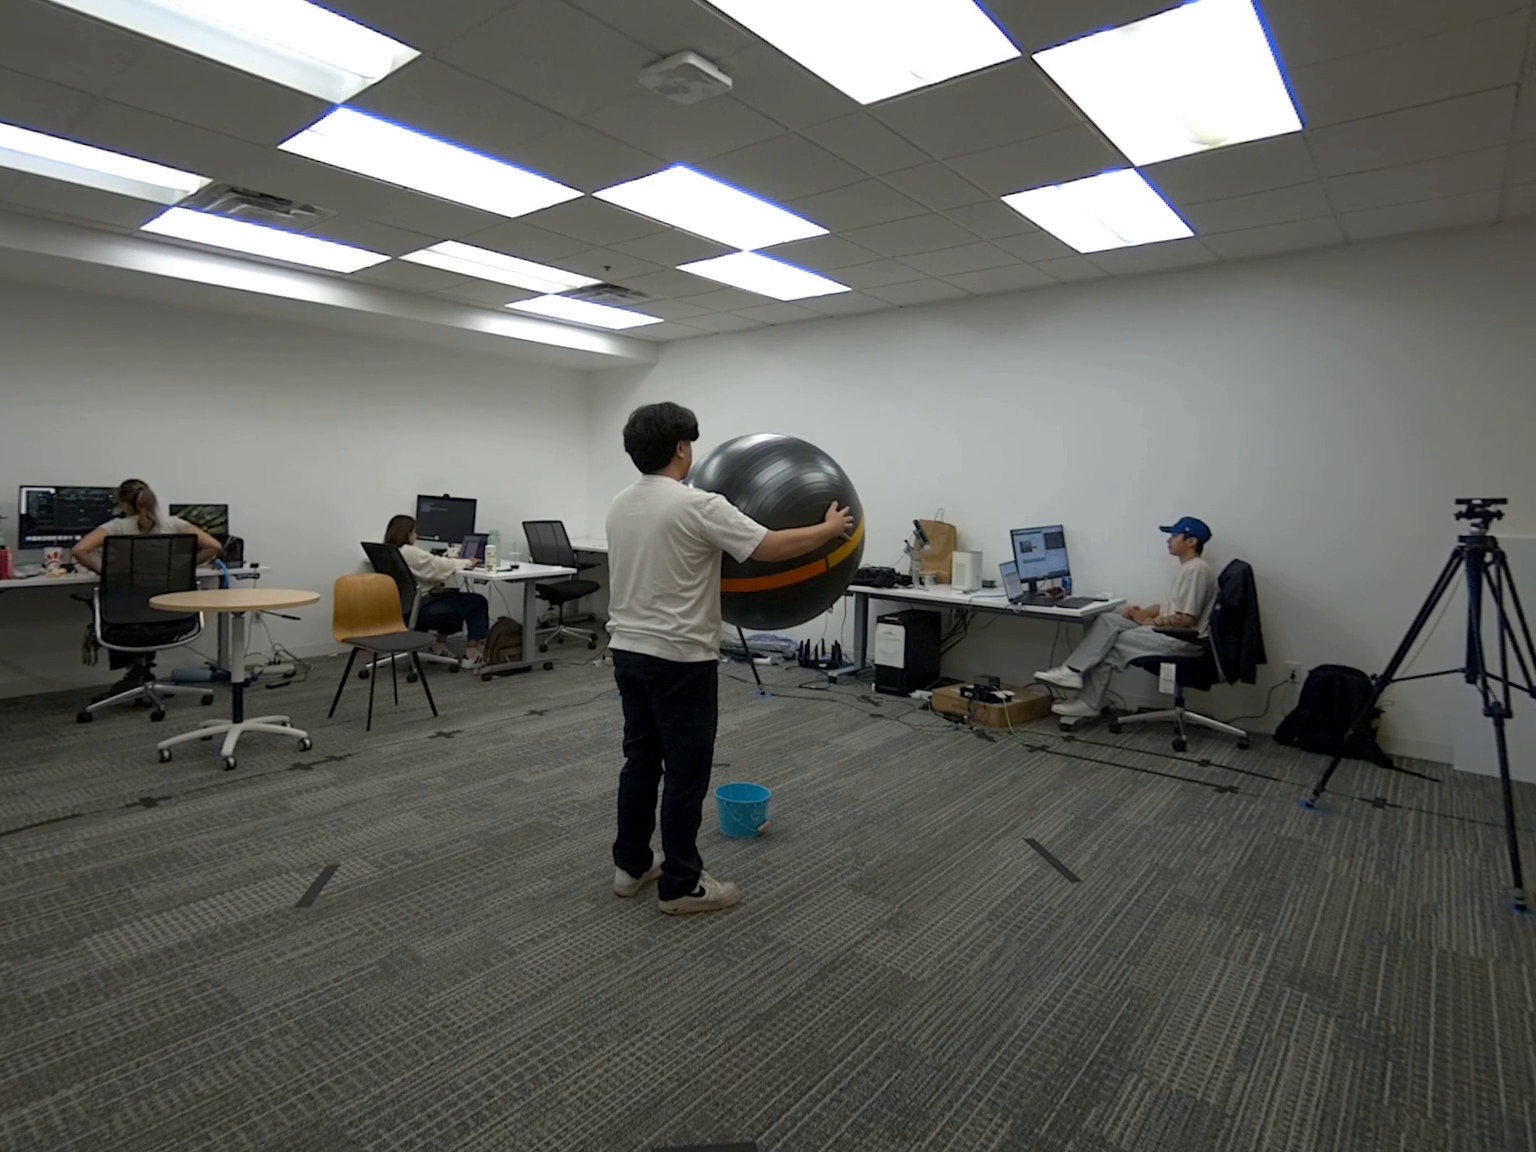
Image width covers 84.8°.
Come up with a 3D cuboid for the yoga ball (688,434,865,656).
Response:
[{"bbox_3d":[-0.012,-0.165,3.292,0.757,0.755,0.762,1,4,-2],"label":"yoga ball"}]
